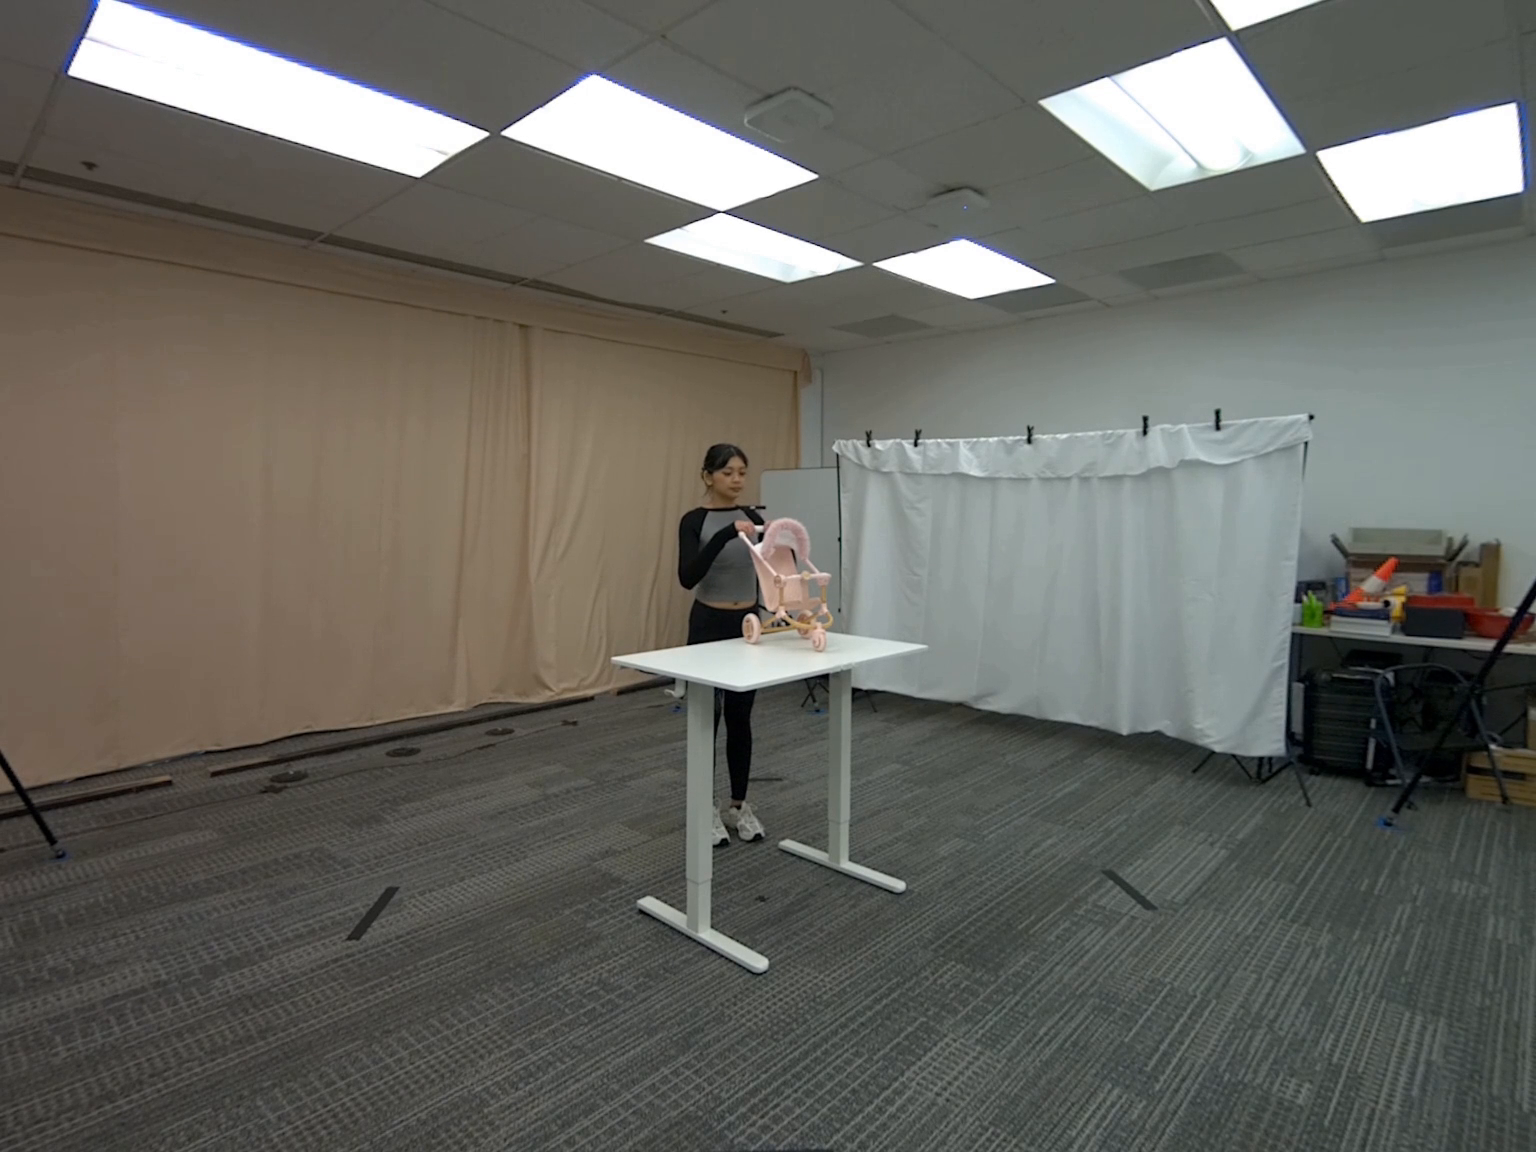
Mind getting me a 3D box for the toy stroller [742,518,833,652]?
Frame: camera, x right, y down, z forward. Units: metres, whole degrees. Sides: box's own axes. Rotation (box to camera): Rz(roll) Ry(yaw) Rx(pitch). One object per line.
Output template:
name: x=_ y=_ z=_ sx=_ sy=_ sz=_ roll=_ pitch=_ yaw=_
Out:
toy stroller: x=0.078 y=0.025 z=3.100 sx=0.274 sy=0.539 sz=0.347 roll=-1 pitch=-12 yaw=-28
